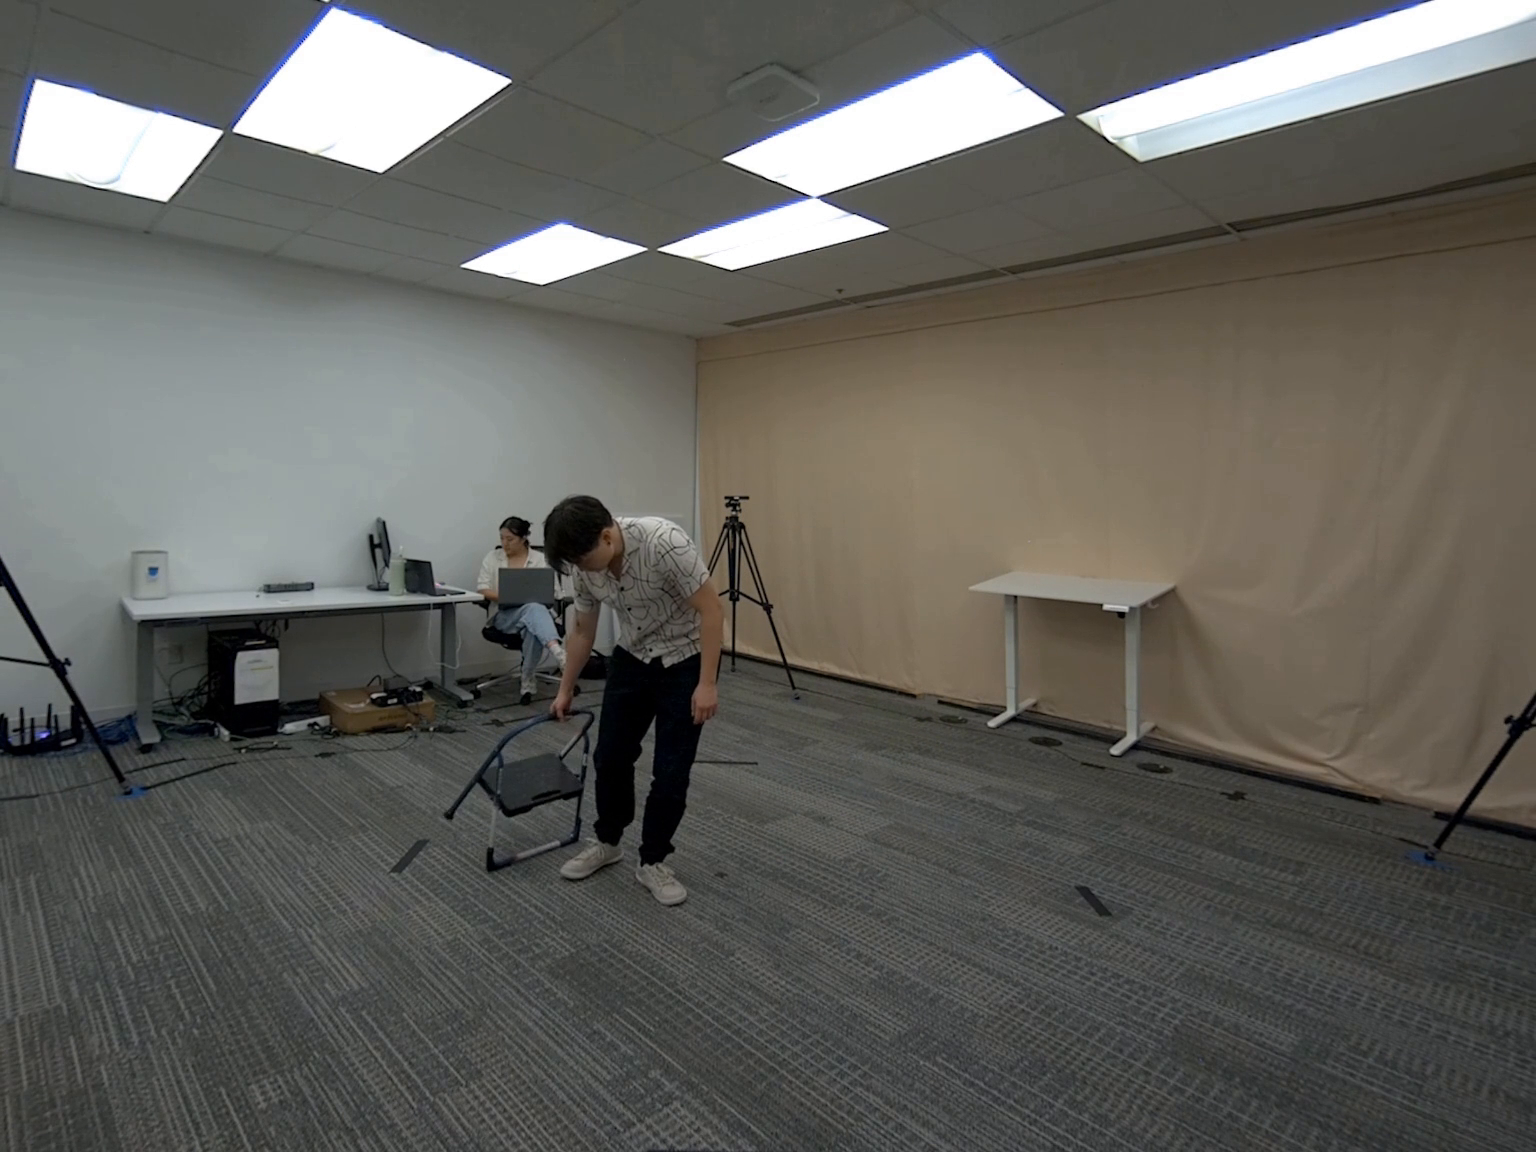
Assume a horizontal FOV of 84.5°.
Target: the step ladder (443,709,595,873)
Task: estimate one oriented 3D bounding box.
[{"bbox_3d":[-0.921,0.738,3.237,0.360,0.601,0.421,34,23,34],"label":"step ladder"}]
